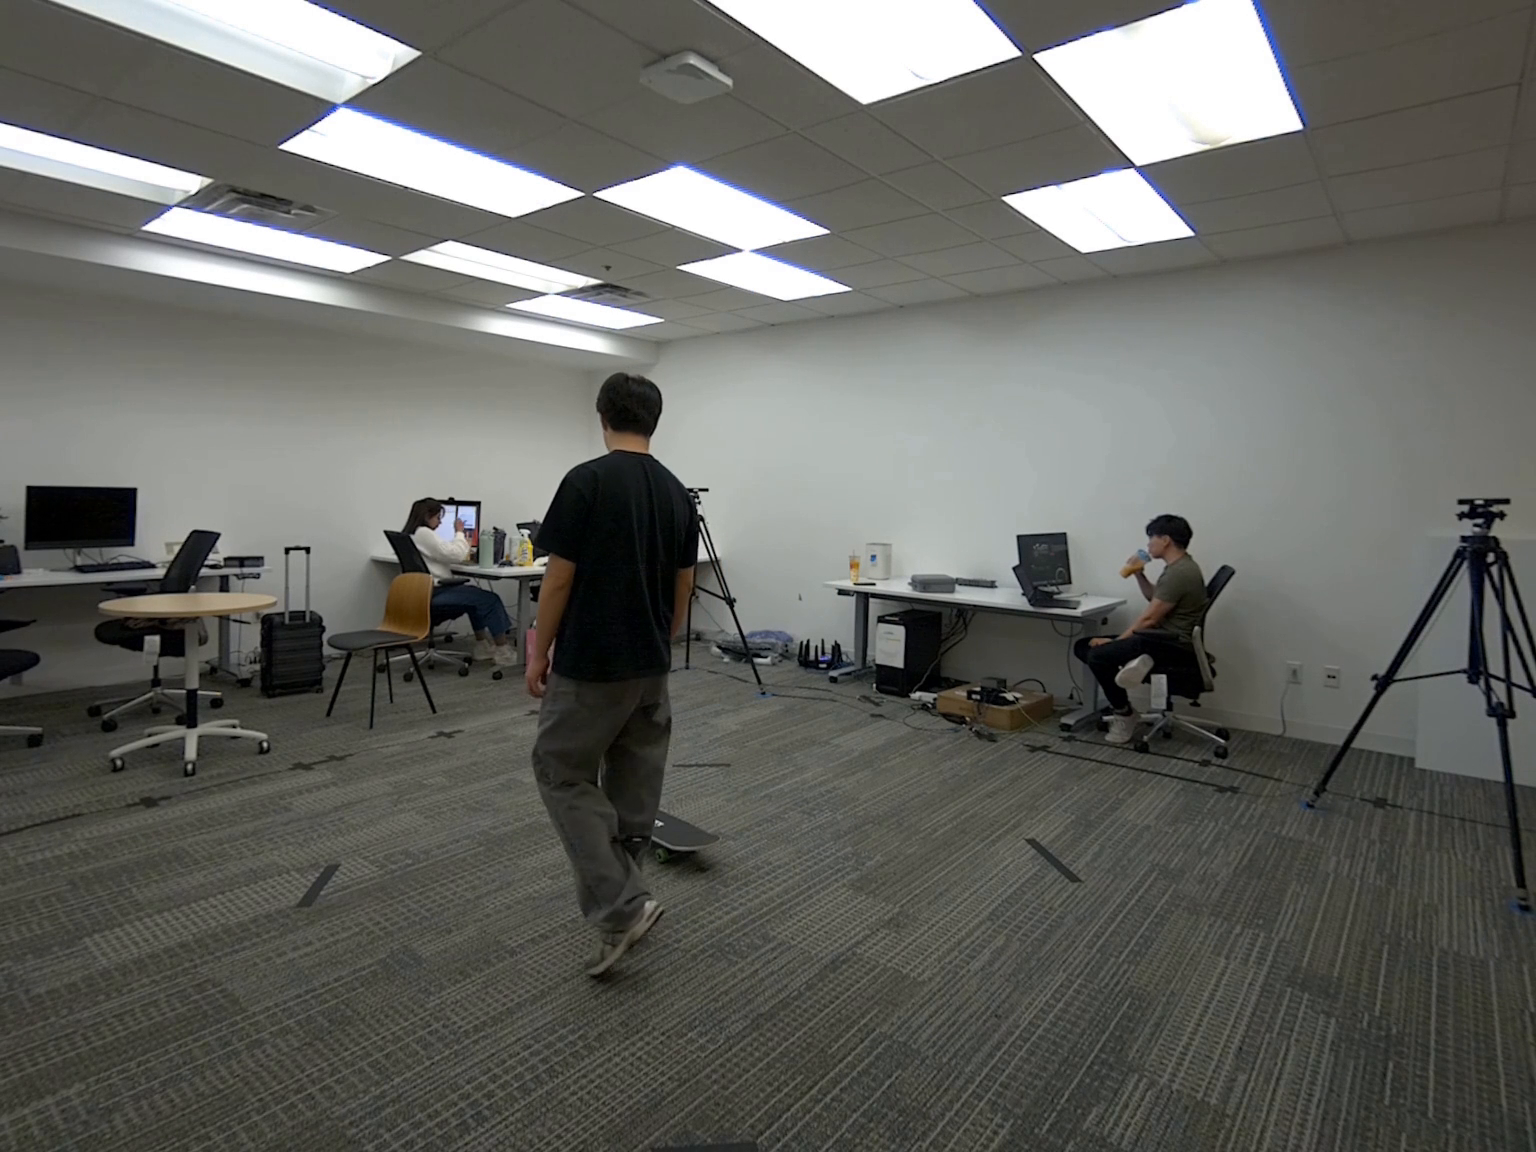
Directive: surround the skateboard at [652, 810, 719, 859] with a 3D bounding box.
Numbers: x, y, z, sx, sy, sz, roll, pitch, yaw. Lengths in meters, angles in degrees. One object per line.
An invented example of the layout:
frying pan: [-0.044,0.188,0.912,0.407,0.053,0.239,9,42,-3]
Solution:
skateboard: [-0.500,0.980,3.356,0.813,0.110,0.188,6,8,44]
